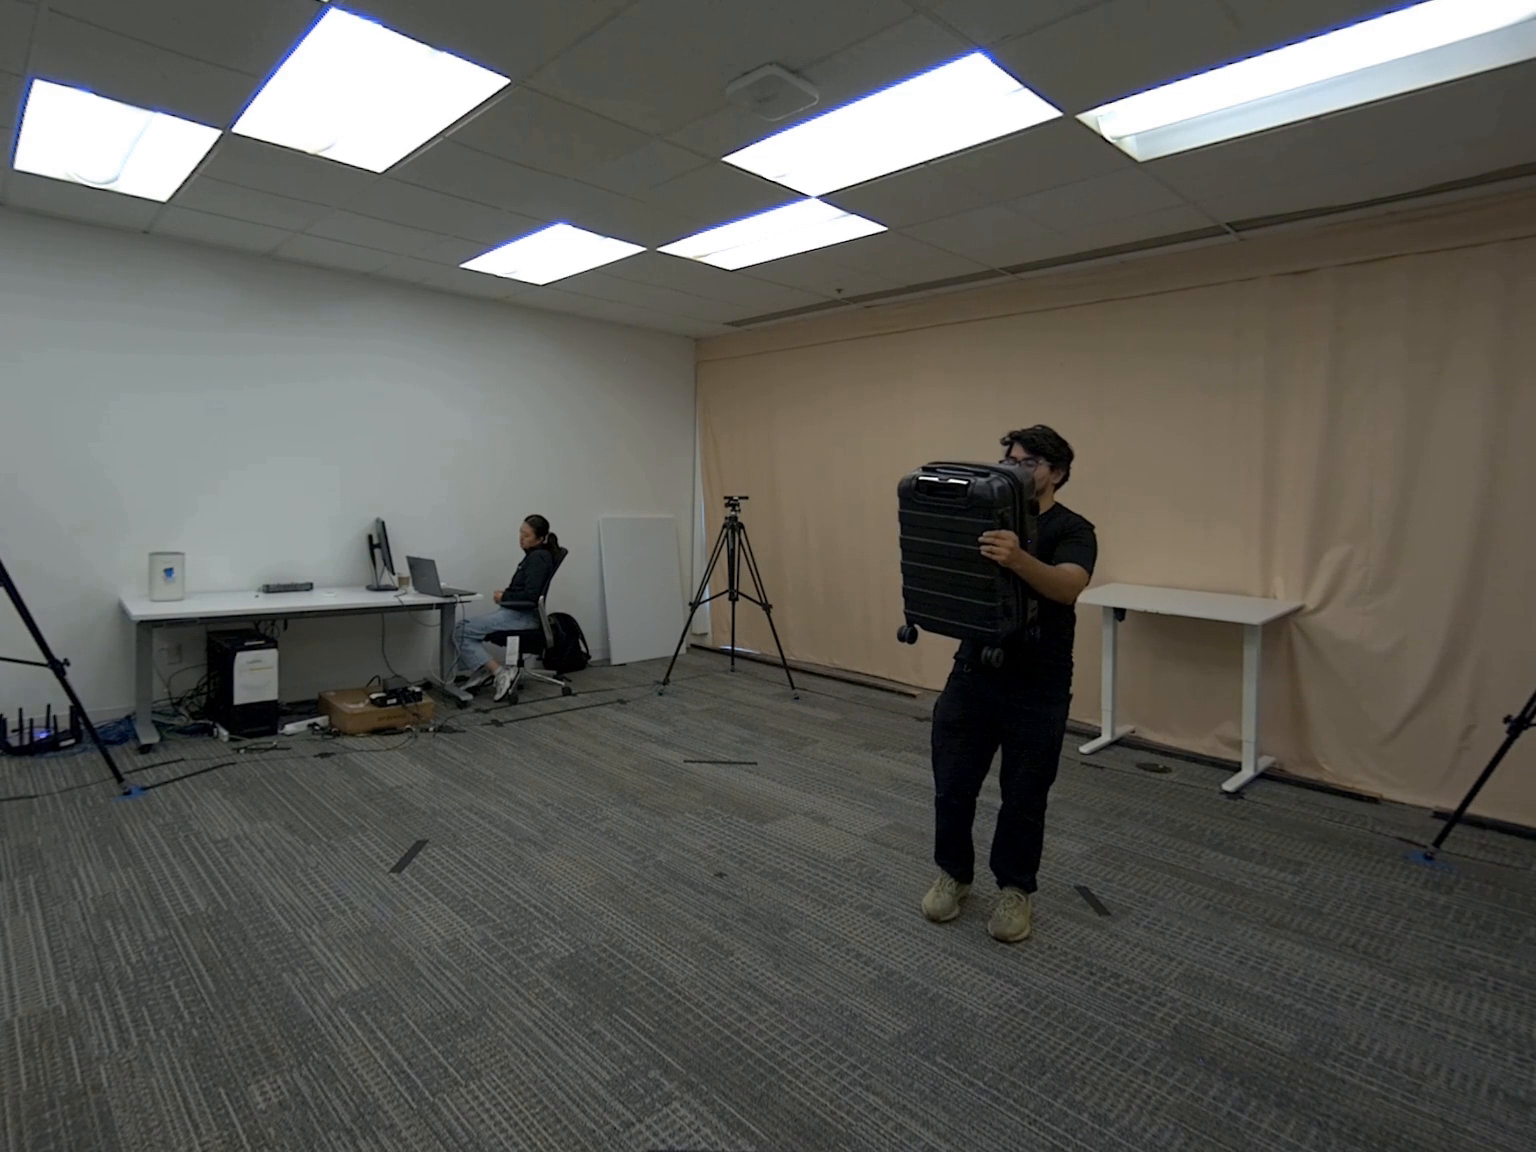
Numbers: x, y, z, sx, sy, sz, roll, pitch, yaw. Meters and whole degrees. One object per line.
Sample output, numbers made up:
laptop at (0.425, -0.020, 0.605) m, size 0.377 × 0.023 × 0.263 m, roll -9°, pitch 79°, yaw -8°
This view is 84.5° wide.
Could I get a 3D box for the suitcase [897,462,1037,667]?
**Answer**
suitcase at (0.586, -0.065, 2.501) m, size 0.245 × 0.542 × 0.386 m, roll -20°, pitch 21°, yaw -38°
